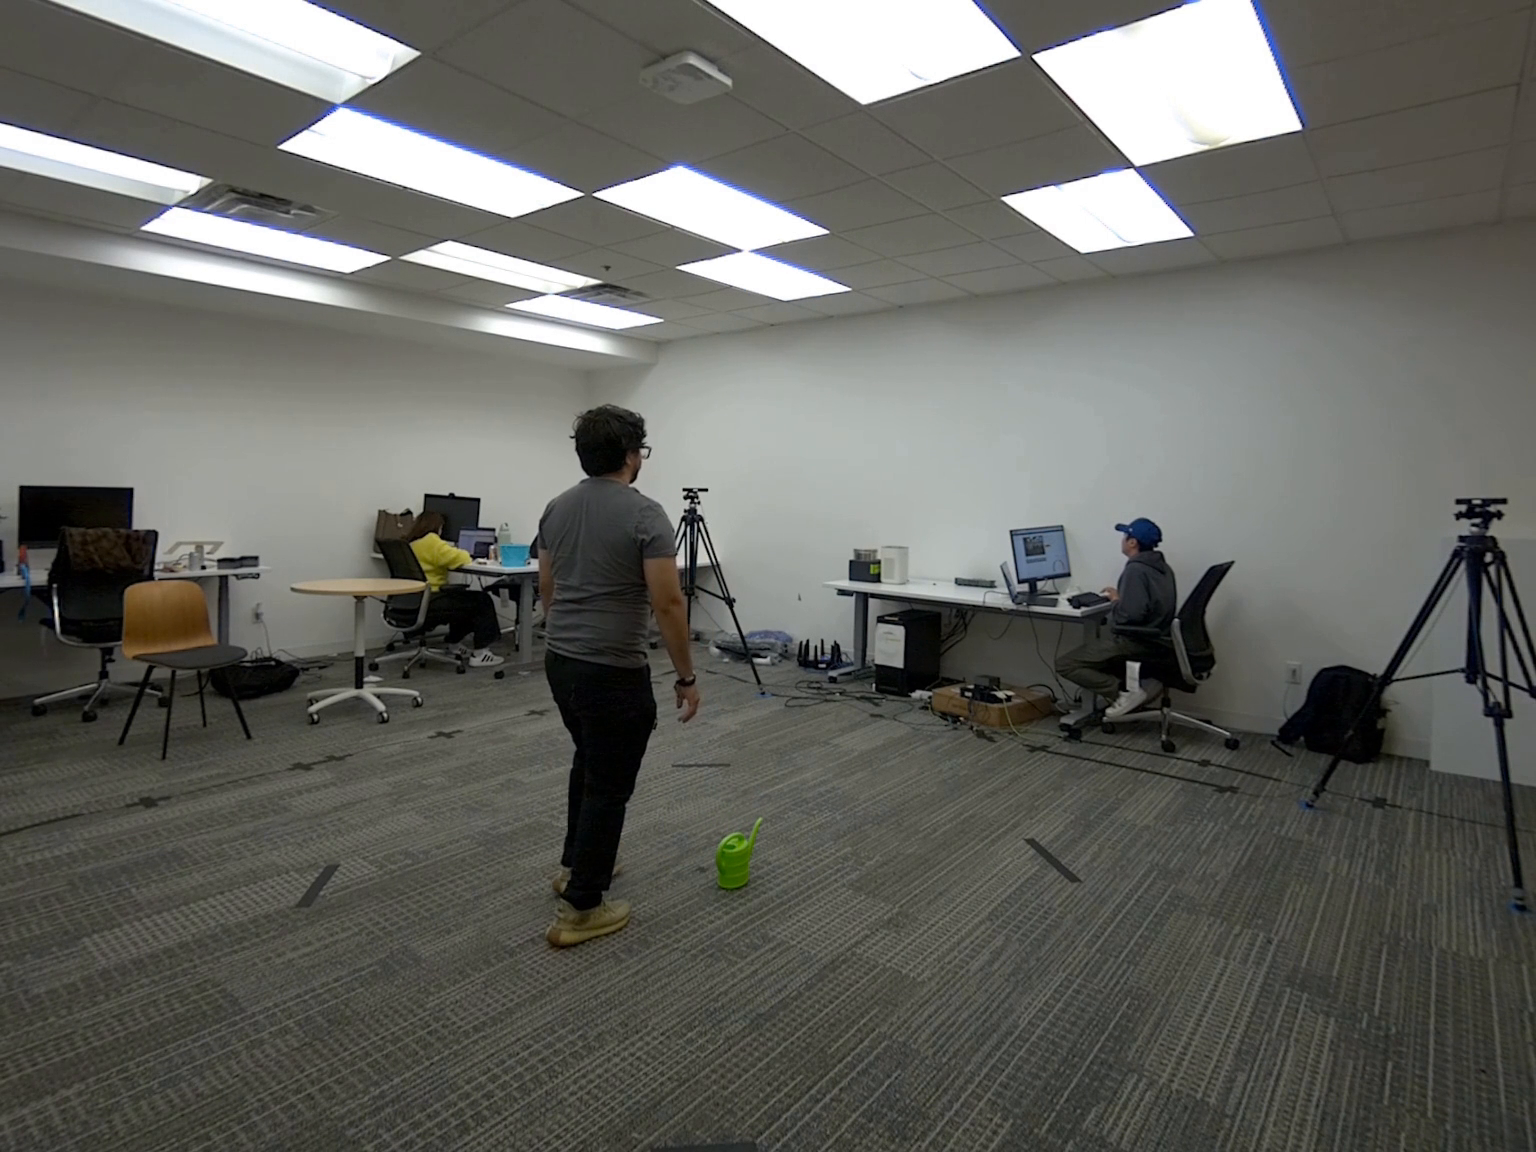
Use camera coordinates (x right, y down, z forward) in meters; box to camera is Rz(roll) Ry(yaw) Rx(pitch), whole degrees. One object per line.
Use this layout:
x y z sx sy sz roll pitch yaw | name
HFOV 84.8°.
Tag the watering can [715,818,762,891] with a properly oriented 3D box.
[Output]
-0.095 0.991 3.026 0.270 0.176 0.101 -5 8 -38 | watering can
